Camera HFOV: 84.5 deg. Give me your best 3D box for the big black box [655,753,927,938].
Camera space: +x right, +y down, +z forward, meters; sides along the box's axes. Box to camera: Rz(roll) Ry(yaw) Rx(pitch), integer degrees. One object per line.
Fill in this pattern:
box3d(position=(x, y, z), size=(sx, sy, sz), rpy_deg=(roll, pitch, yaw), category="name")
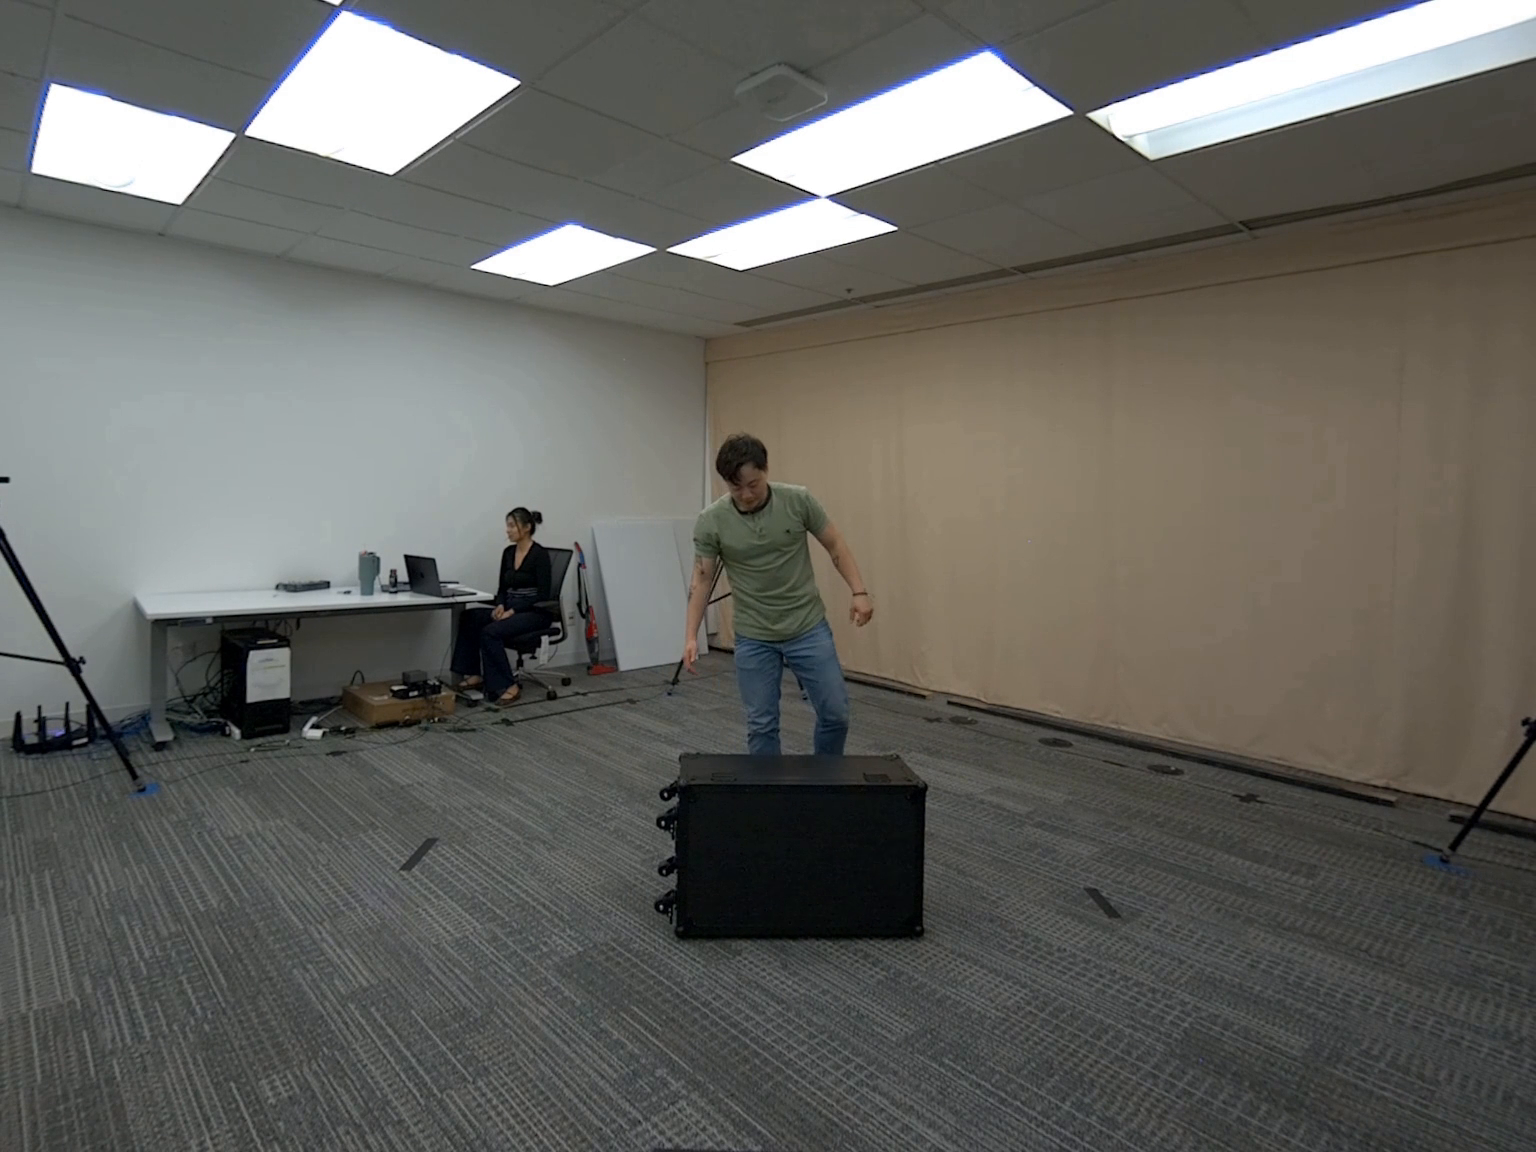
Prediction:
box3d(position=(0.055, 0.877, 2.827), size=(0.858, 0.521, 0.398), rpy_deg=(1, 1, -4), category="big black box")
